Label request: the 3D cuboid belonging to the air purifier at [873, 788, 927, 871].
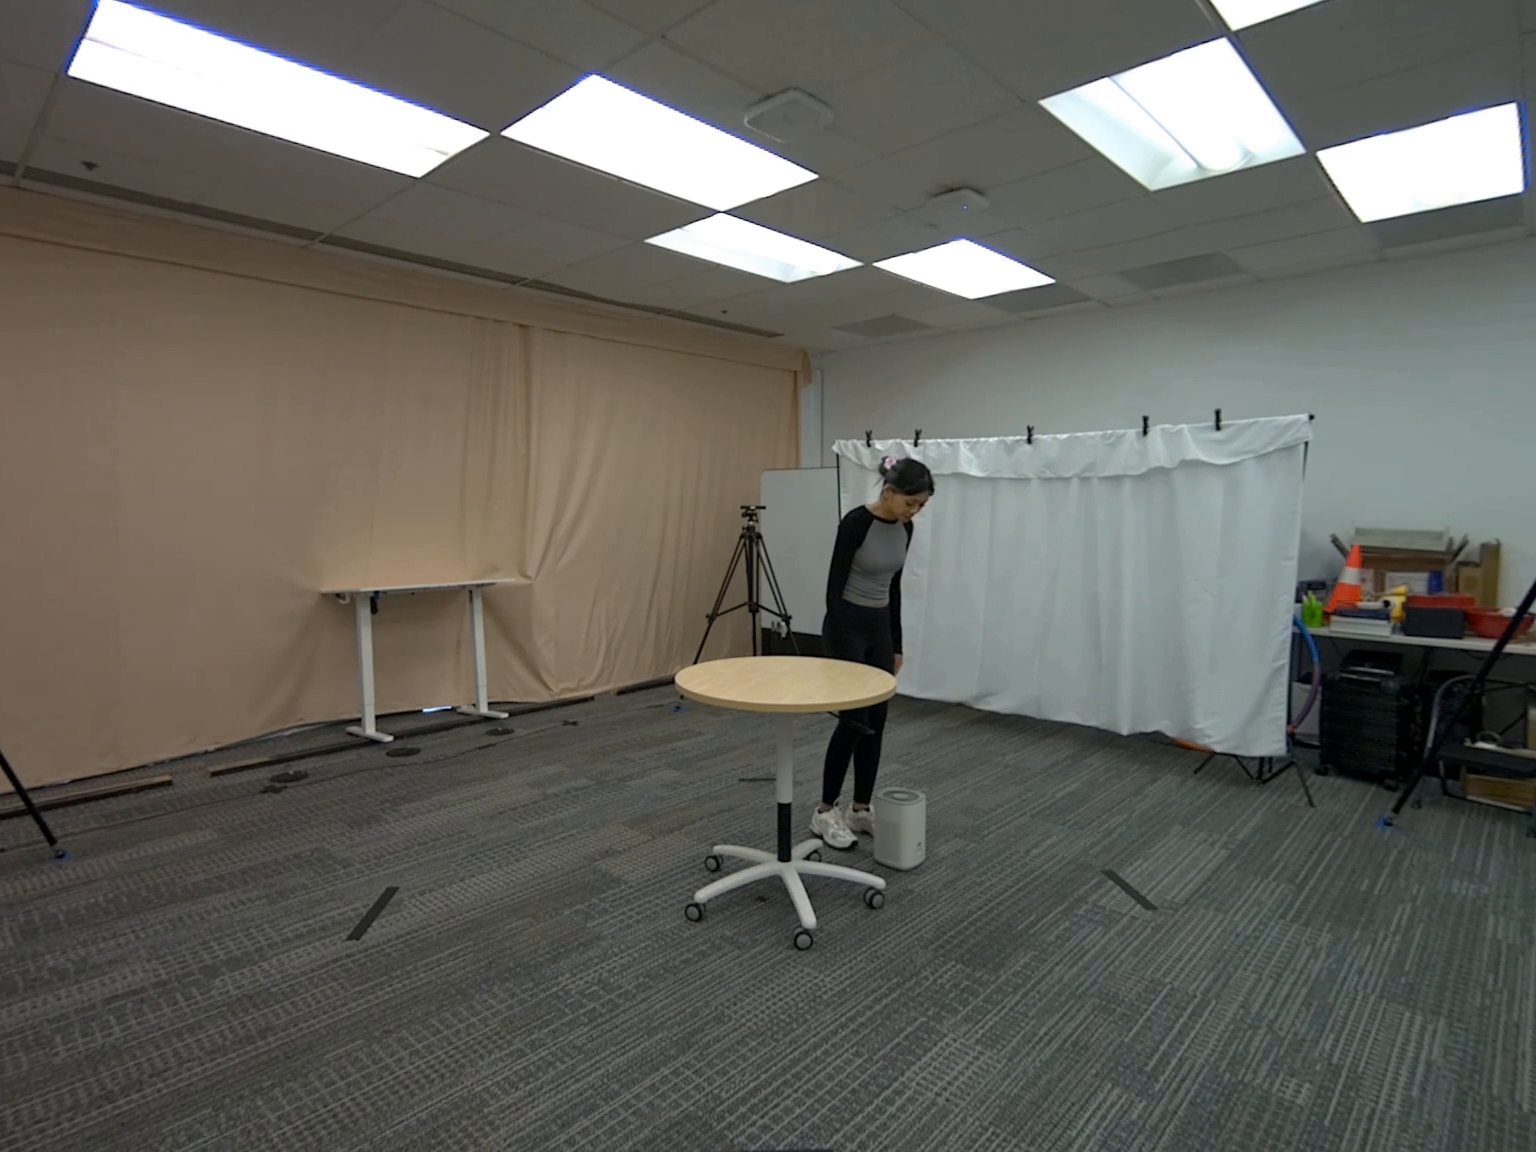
[{"bbox_3d":[0.523,0.989,3.281,0.177,0.265,0.166,3,4,39],"label":"air purifier"}]
